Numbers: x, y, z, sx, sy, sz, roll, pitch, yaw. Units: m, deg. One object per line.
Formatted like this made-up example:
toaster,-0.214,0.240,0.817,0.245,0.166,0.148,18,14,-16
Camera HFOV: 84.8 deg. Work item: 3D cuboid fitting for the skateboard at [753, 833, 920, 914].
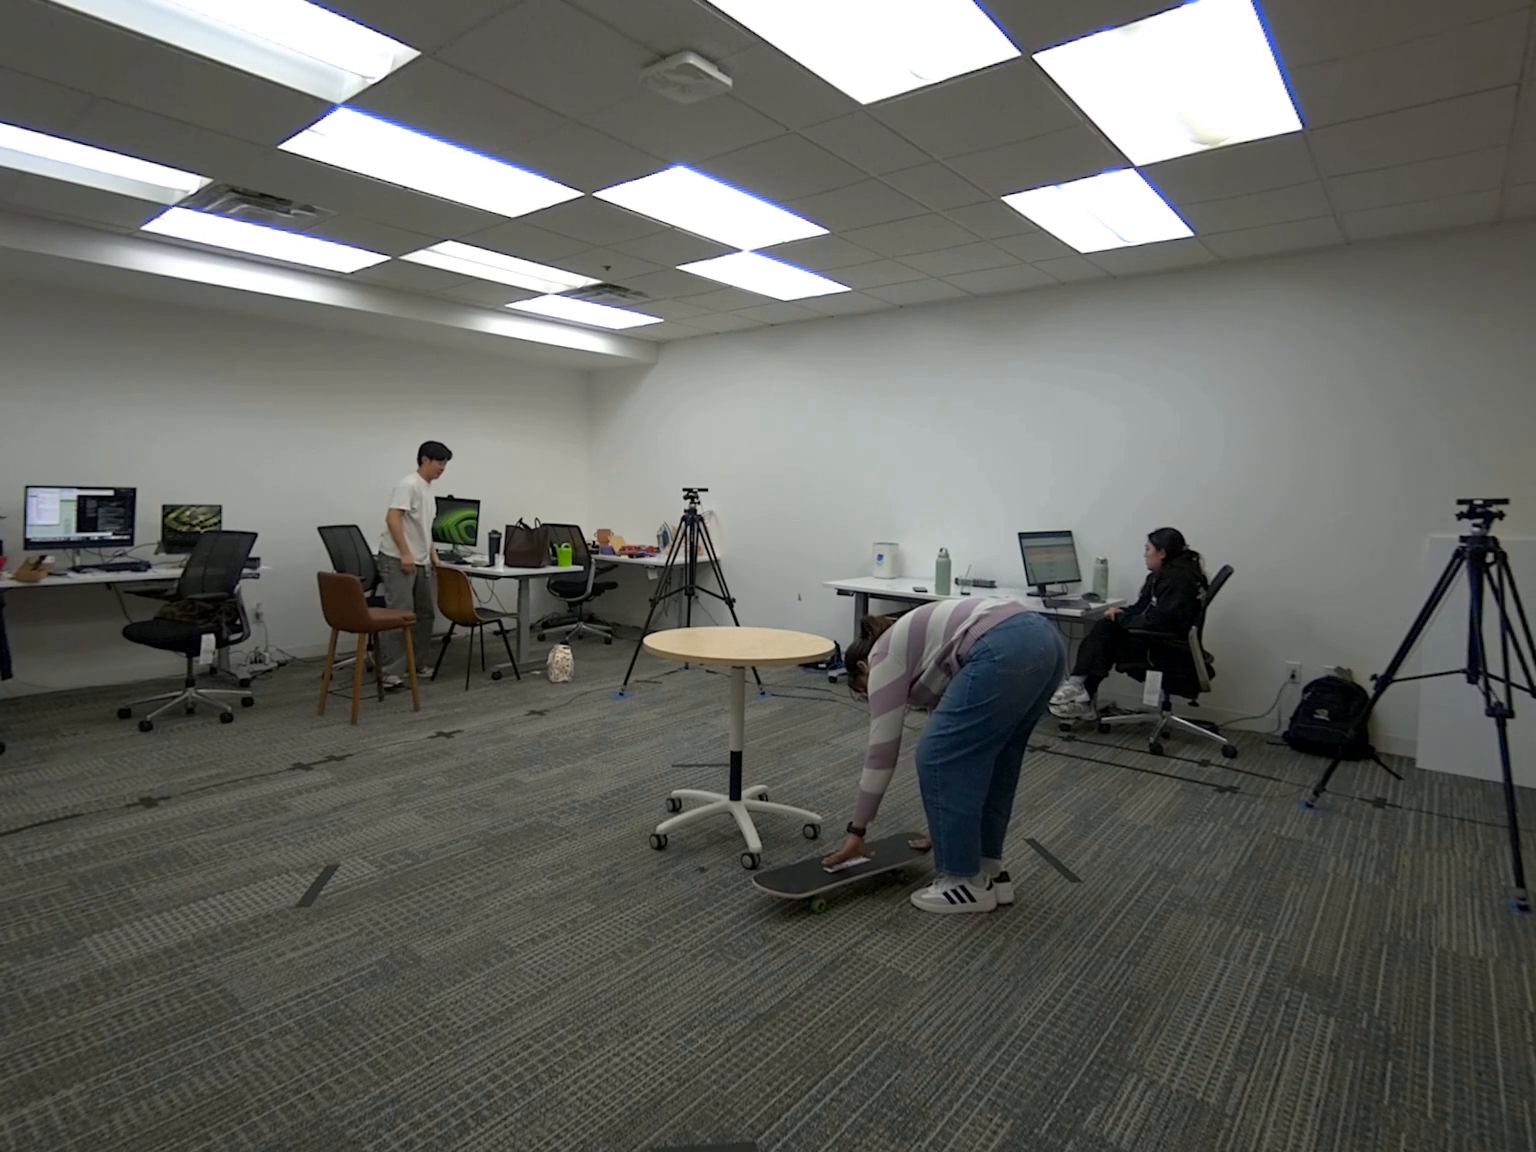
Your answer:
skateboard,0.276,1.039,2.988,0.762,0.110,0.200,-2,6,-36
